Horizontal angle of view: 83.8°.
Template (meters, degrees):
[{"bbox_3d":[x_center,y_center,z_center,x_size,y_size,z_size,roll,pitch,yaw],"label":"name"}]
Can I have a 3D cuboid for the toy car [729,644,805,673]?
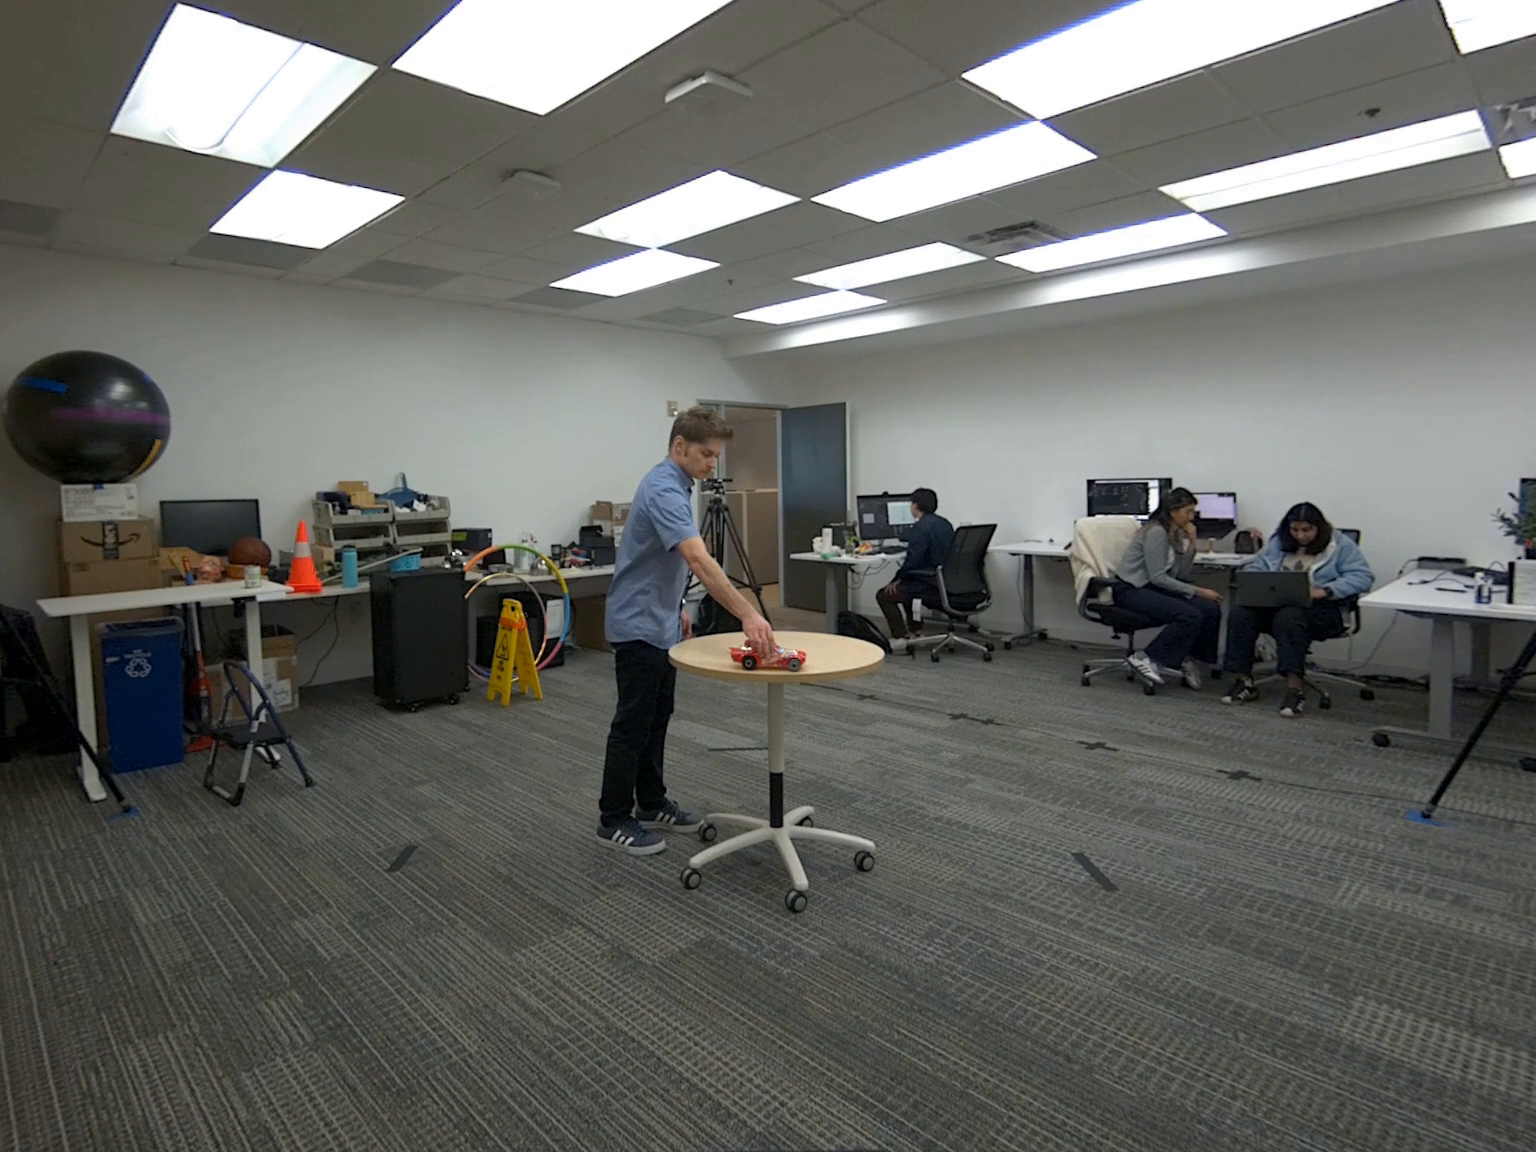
[{"bbox_3d":[-0.003,0.266,2.776,0.256,0.083,0.130,12,7,5],"label":"toy car"}]
